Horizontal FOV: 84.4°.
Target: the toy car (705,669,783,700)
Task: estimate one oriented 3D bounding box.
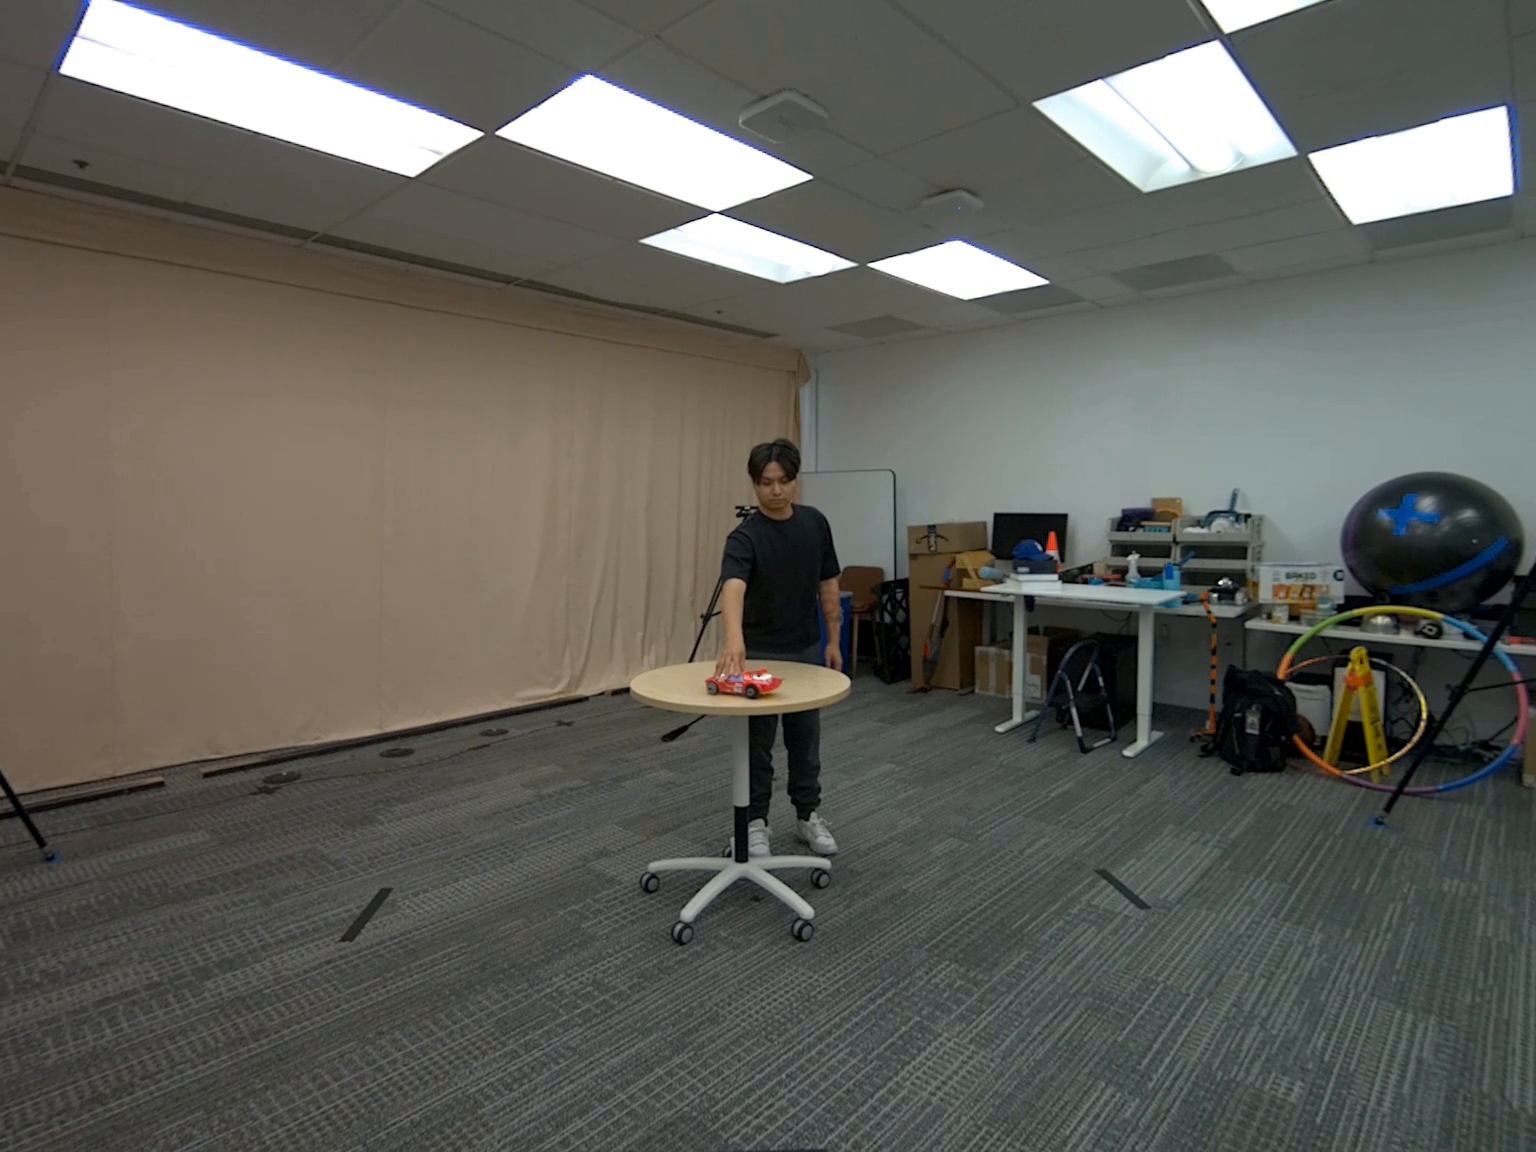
[{"bbox_3d":[-0.071,0.353,2.718,0.261,0.083,0.127,-11,-2,31],"label":"toy car"}]
